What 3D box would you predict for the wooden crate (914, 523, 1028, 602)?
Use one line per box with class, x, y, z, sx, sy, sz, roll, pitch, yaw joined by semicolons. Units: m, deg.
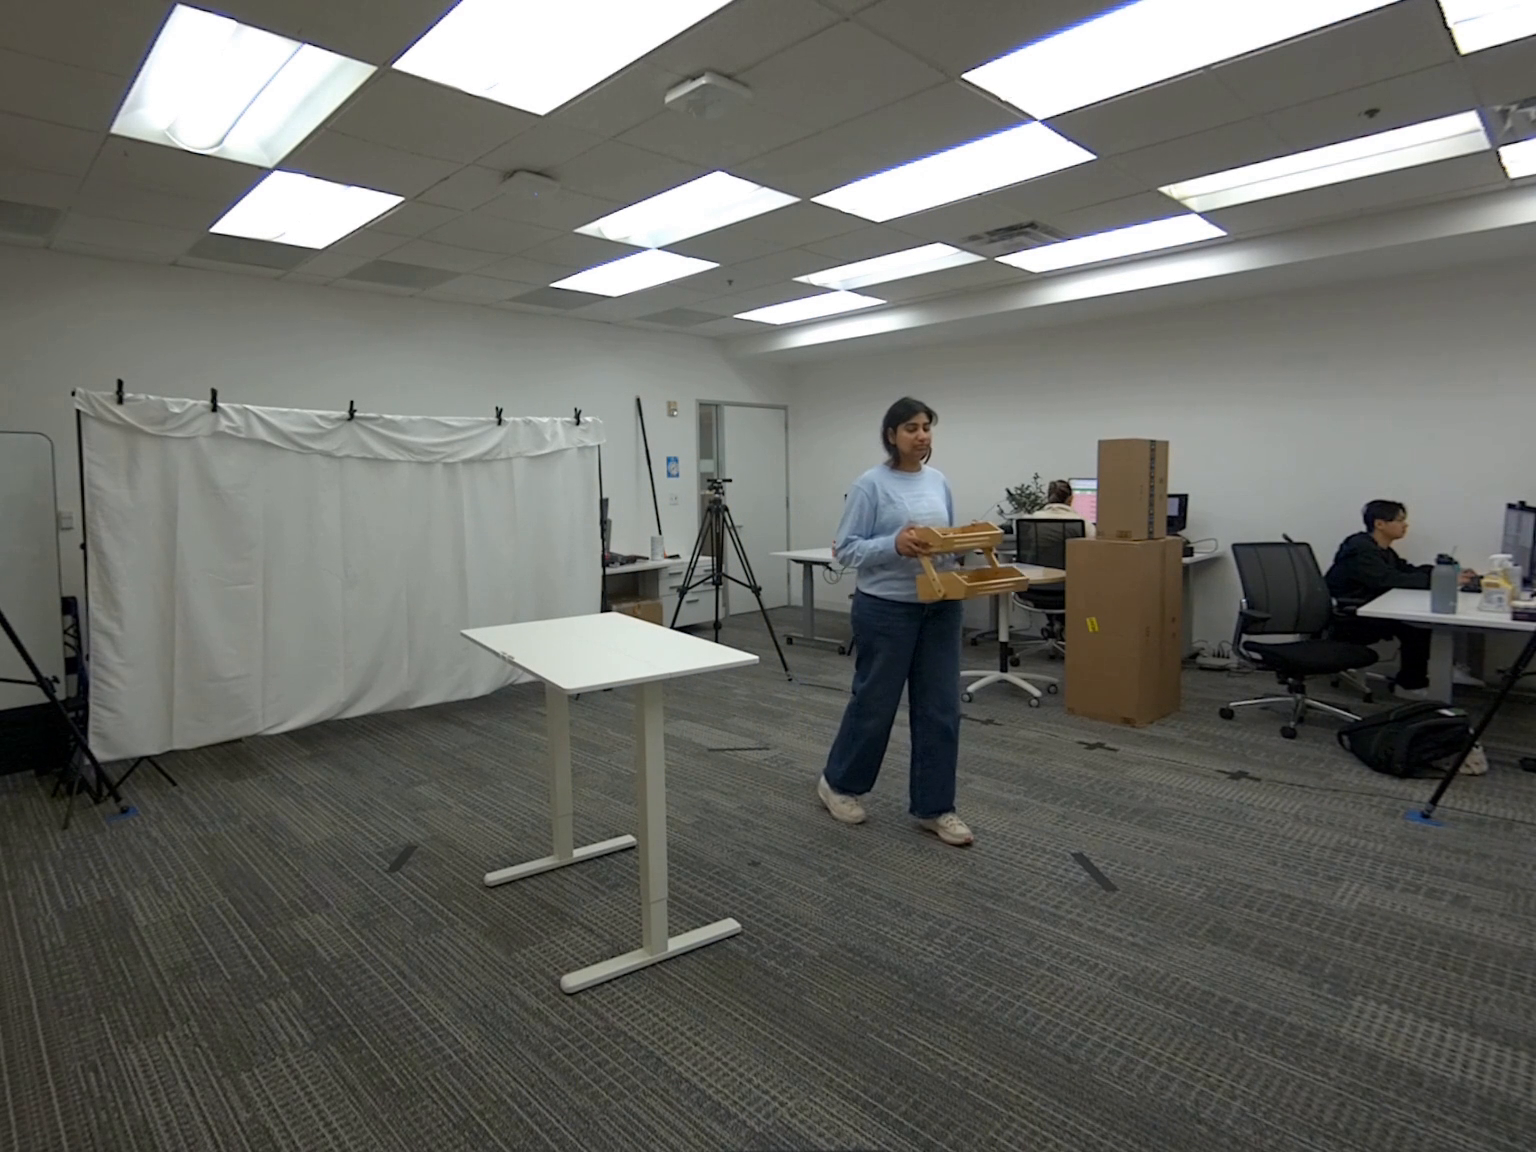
wooden crate;0.707;-0.060;3.094;0.317;0.274;0.308;-5;-3;-30
